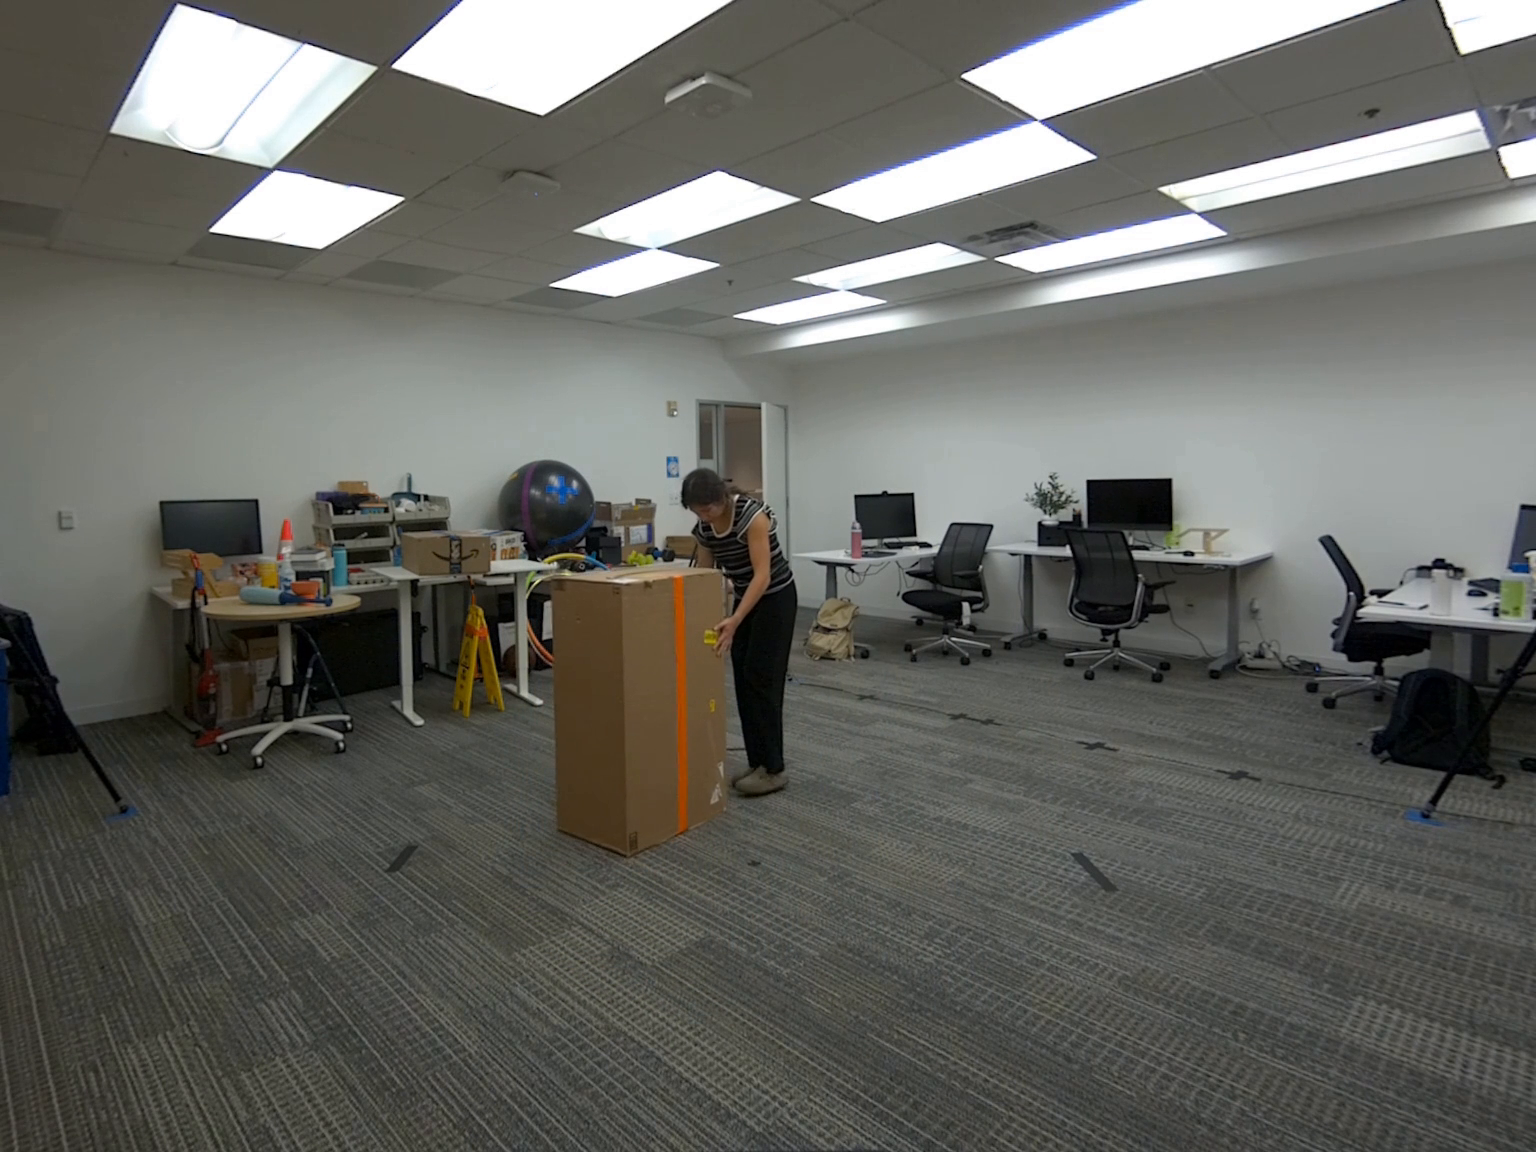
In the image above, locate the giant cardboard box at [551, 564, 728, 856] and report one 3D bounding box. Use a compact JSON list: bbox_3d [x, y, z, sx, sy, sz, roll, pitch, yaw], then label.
[{"bbox_3d":[-0.521,0.500,3.490,0.439,1.023,0.562,2,4,39],"label":"giant cardboard box"}]
